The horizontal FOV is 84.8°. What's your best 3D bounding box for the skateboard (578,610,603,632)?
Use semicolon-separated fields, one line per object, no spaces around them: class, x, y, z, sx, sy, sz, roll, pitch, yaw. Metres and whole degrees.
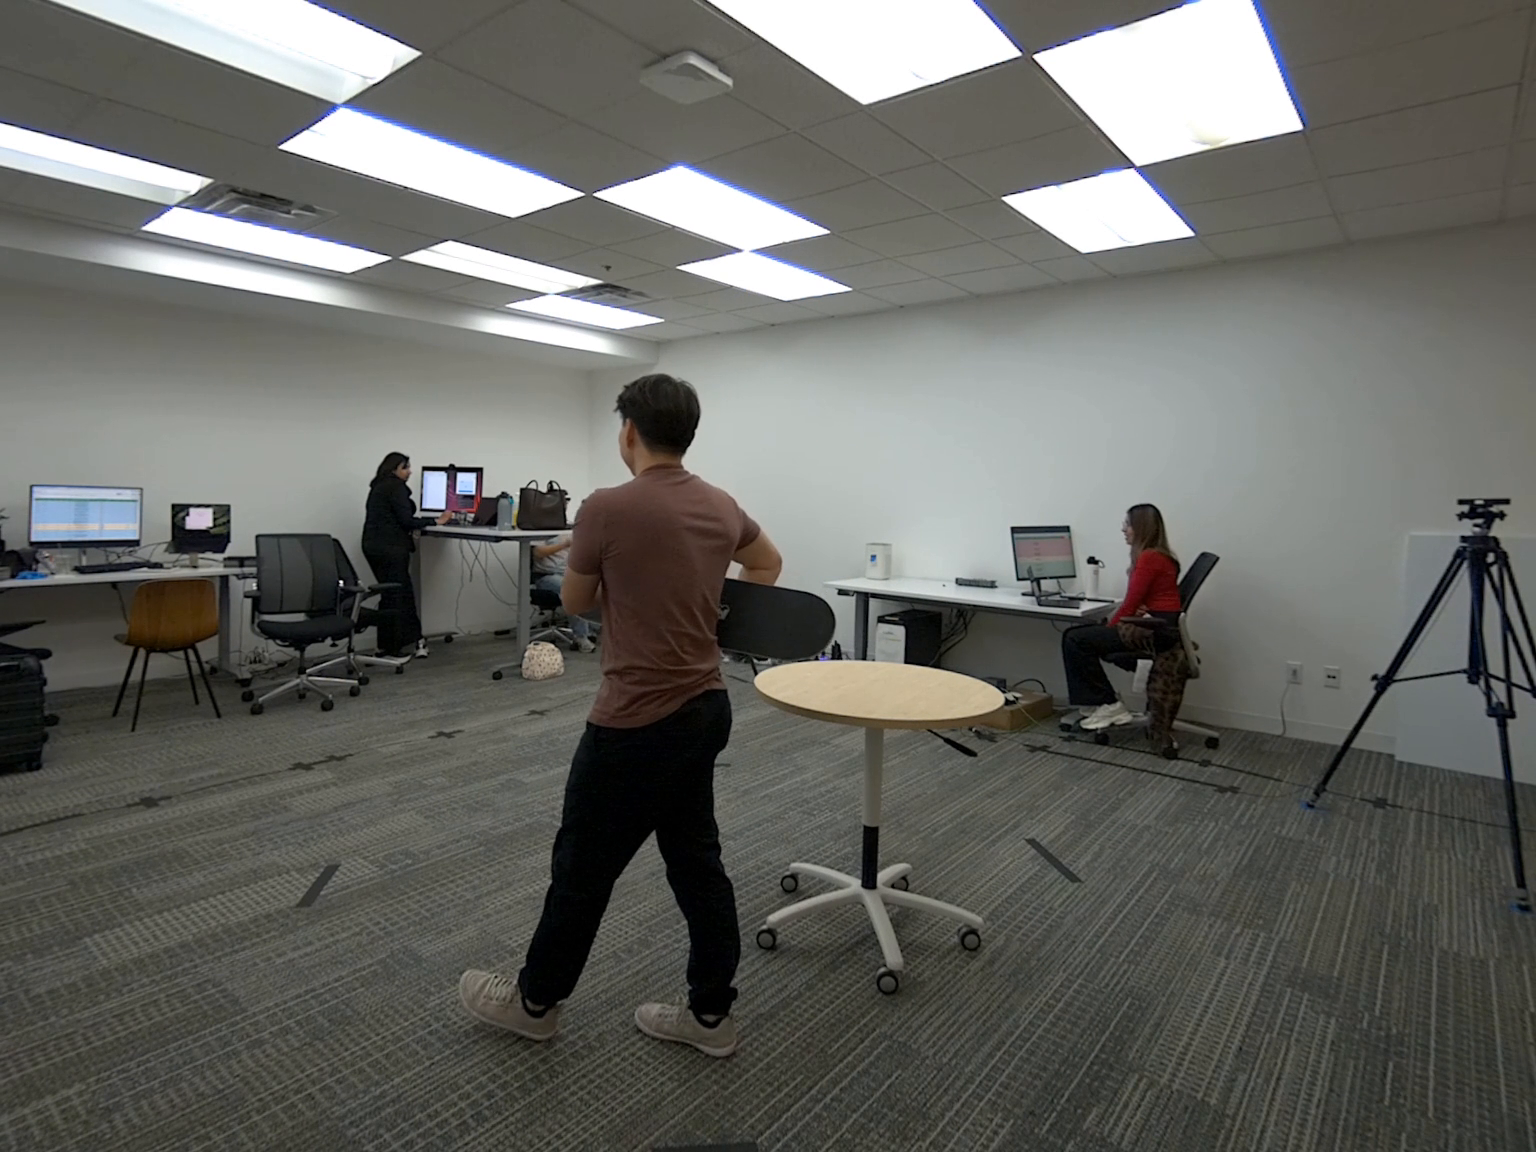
skateboard;-0.204;0.103;2.294;0.803;0.196;0.106;9;-19;19
